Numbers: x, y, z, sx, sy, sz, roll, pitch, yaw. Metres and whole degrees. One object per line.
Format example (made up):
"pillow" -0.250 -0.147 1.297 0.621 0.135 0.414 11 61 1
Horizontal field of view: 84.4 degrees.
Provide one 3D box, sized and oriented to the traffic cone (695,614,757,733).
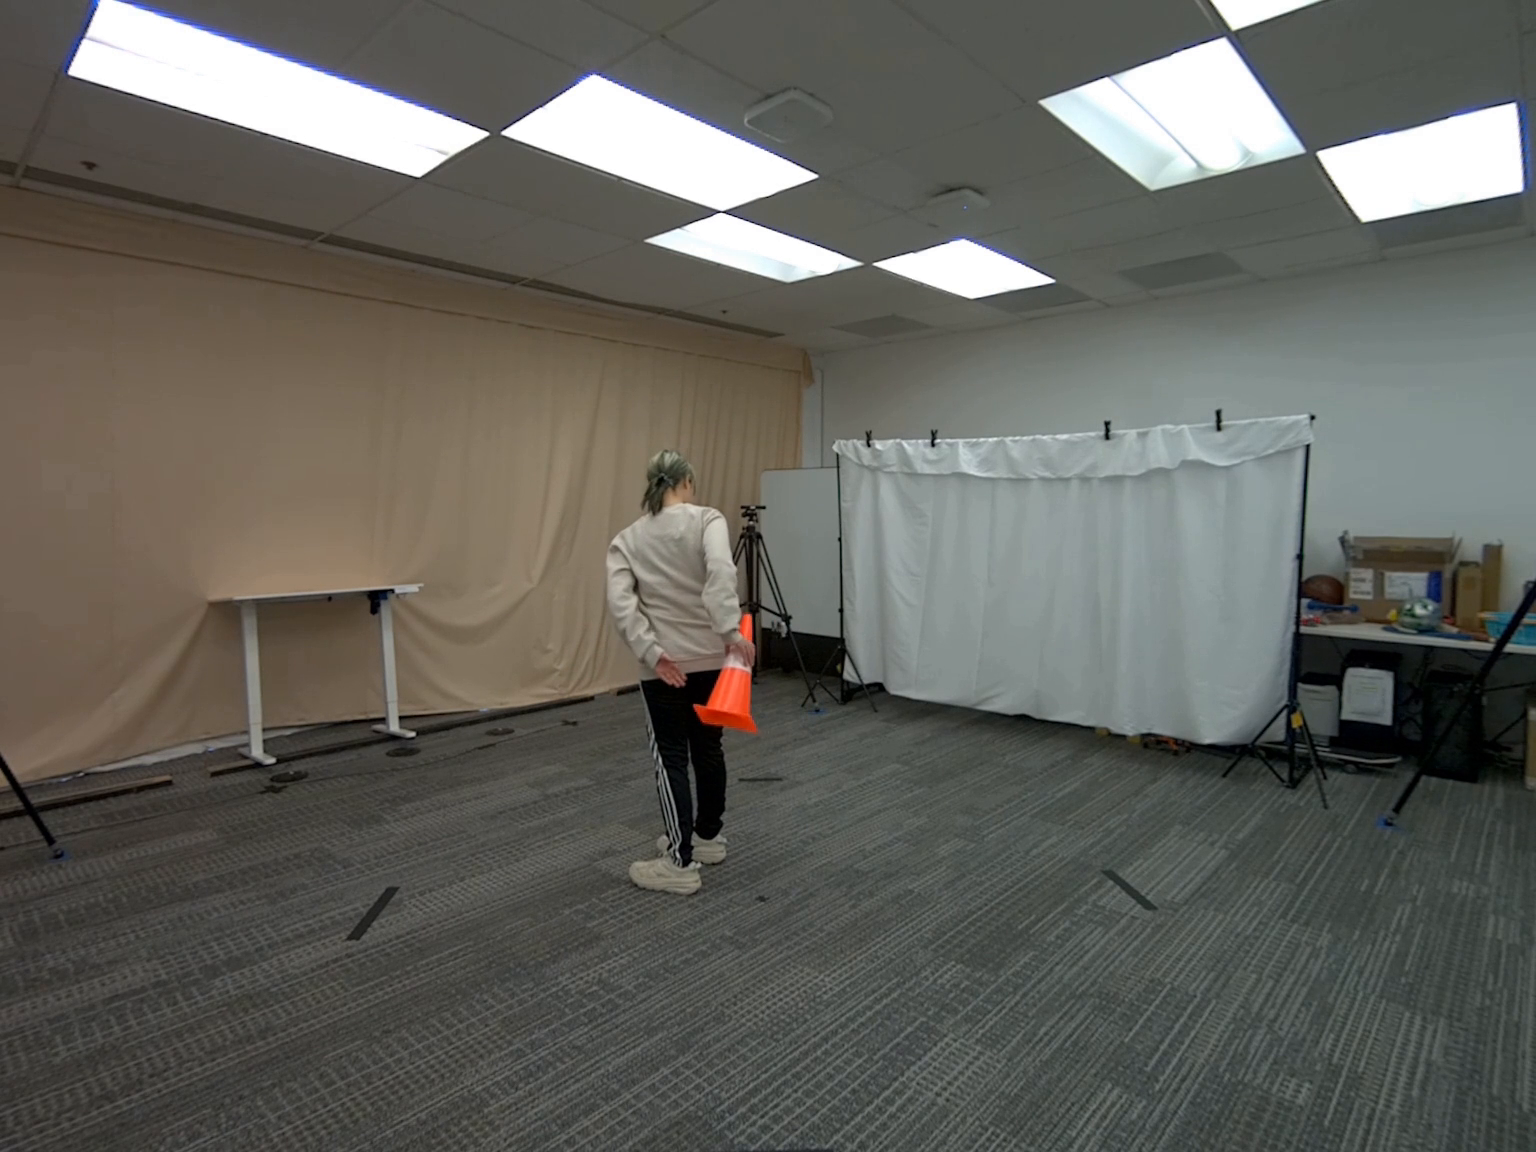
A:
"traffic cone" -0.098 0.314 2.902 0.207 0.387 0.199 2 -24 18
